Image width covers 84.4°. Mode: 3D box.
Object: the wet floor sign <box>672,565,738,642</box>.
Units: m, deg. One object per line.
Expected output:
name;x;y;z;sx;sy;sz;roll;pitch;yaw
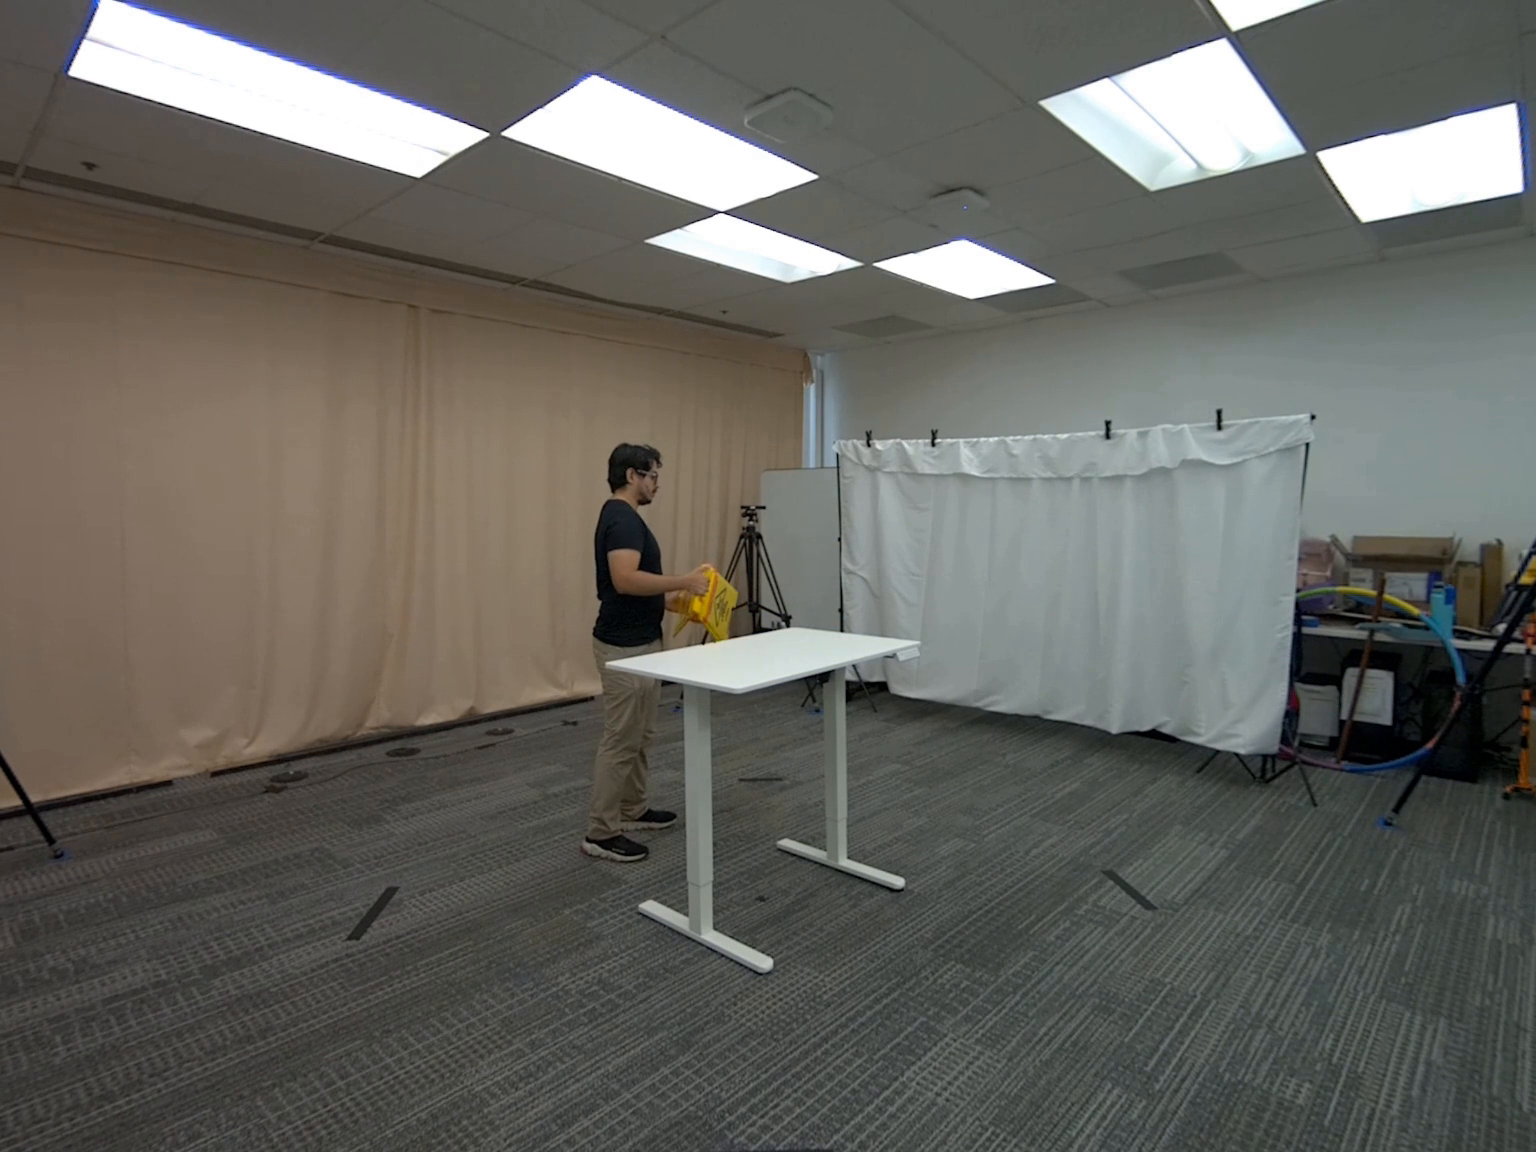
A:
wet floor sign;-0.280;0.120;3.669;0.290;0.283;0.642;13;-13;0
